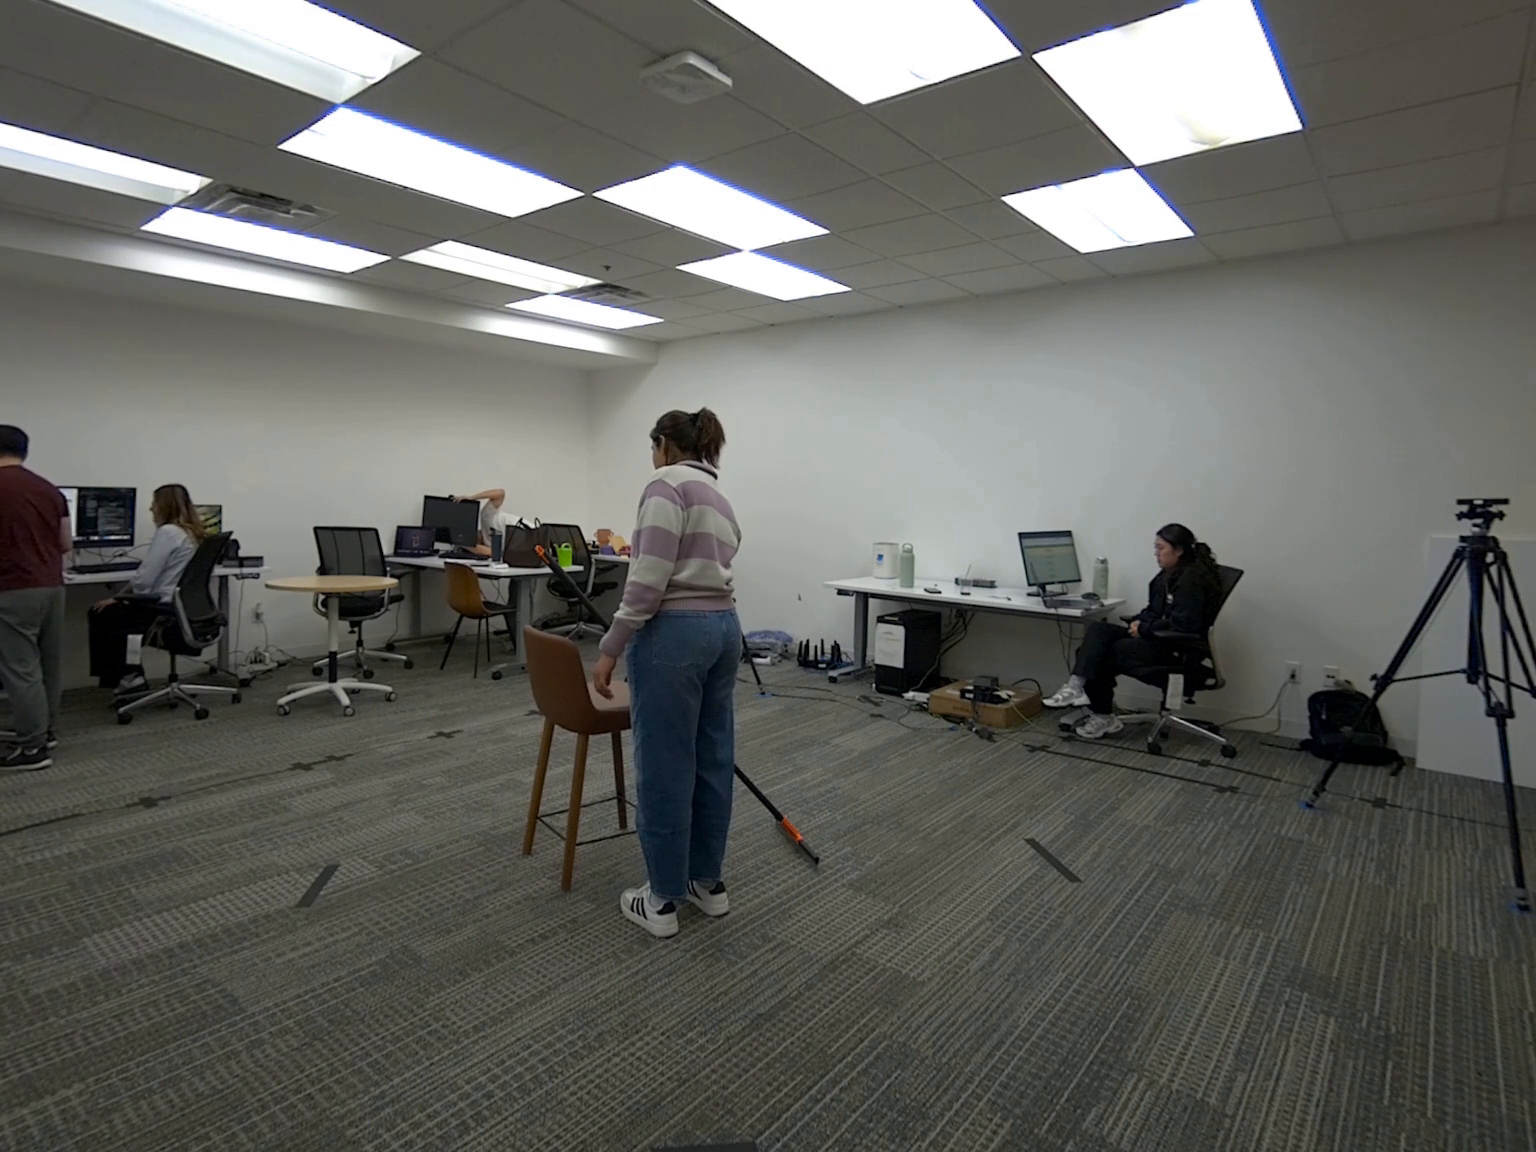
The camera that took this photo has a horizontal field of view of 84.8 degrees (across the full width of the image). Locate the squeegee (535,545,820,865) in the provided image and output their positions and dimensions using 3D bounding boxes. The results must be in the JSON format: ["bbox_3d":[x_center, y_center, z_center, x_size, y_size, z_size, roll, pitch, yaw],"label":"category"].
[{"bbox_3d":[-0.343,0.464,3.168,0.053,1.512,0.445,-43,12,-12],"label":"squeegee"}]
